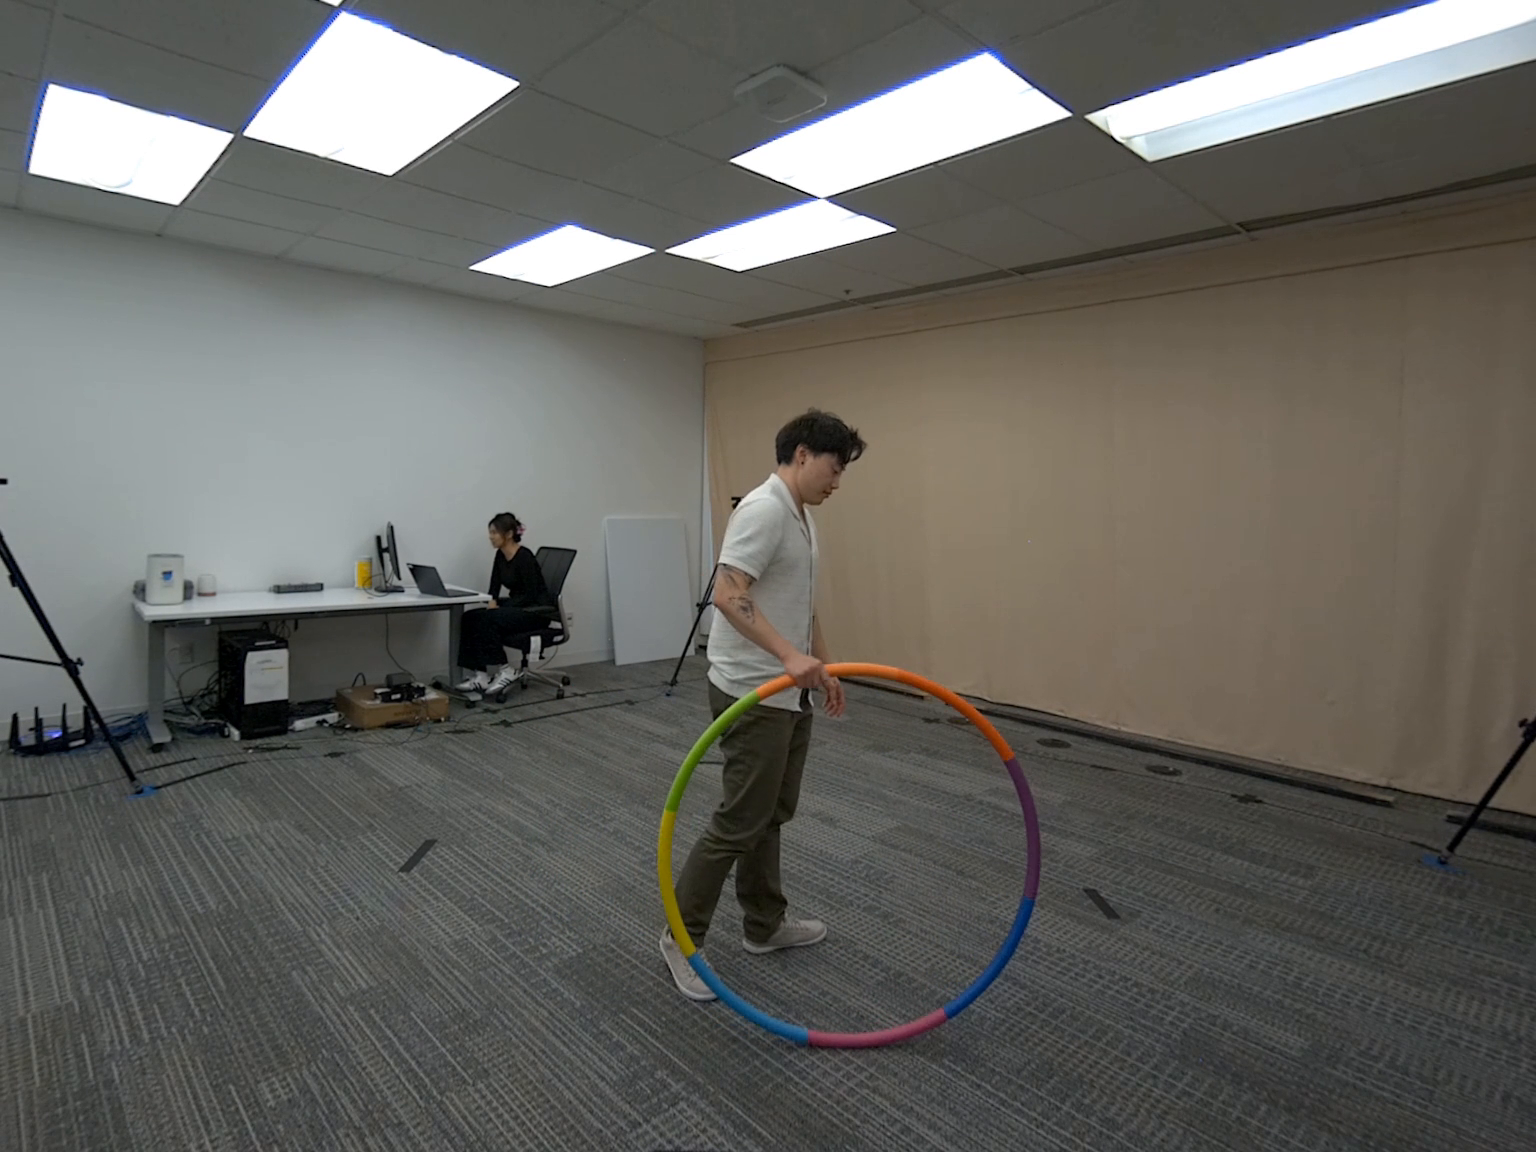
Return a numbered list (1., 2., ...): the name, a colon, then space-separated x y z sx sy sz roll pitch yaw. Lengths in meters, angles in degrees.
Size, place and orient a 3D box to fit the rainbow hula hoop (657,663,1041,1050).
1. rainbow hula hoop: 0.216 0.719 2.165 0.976 0.980 0.035 1 -2 -3
